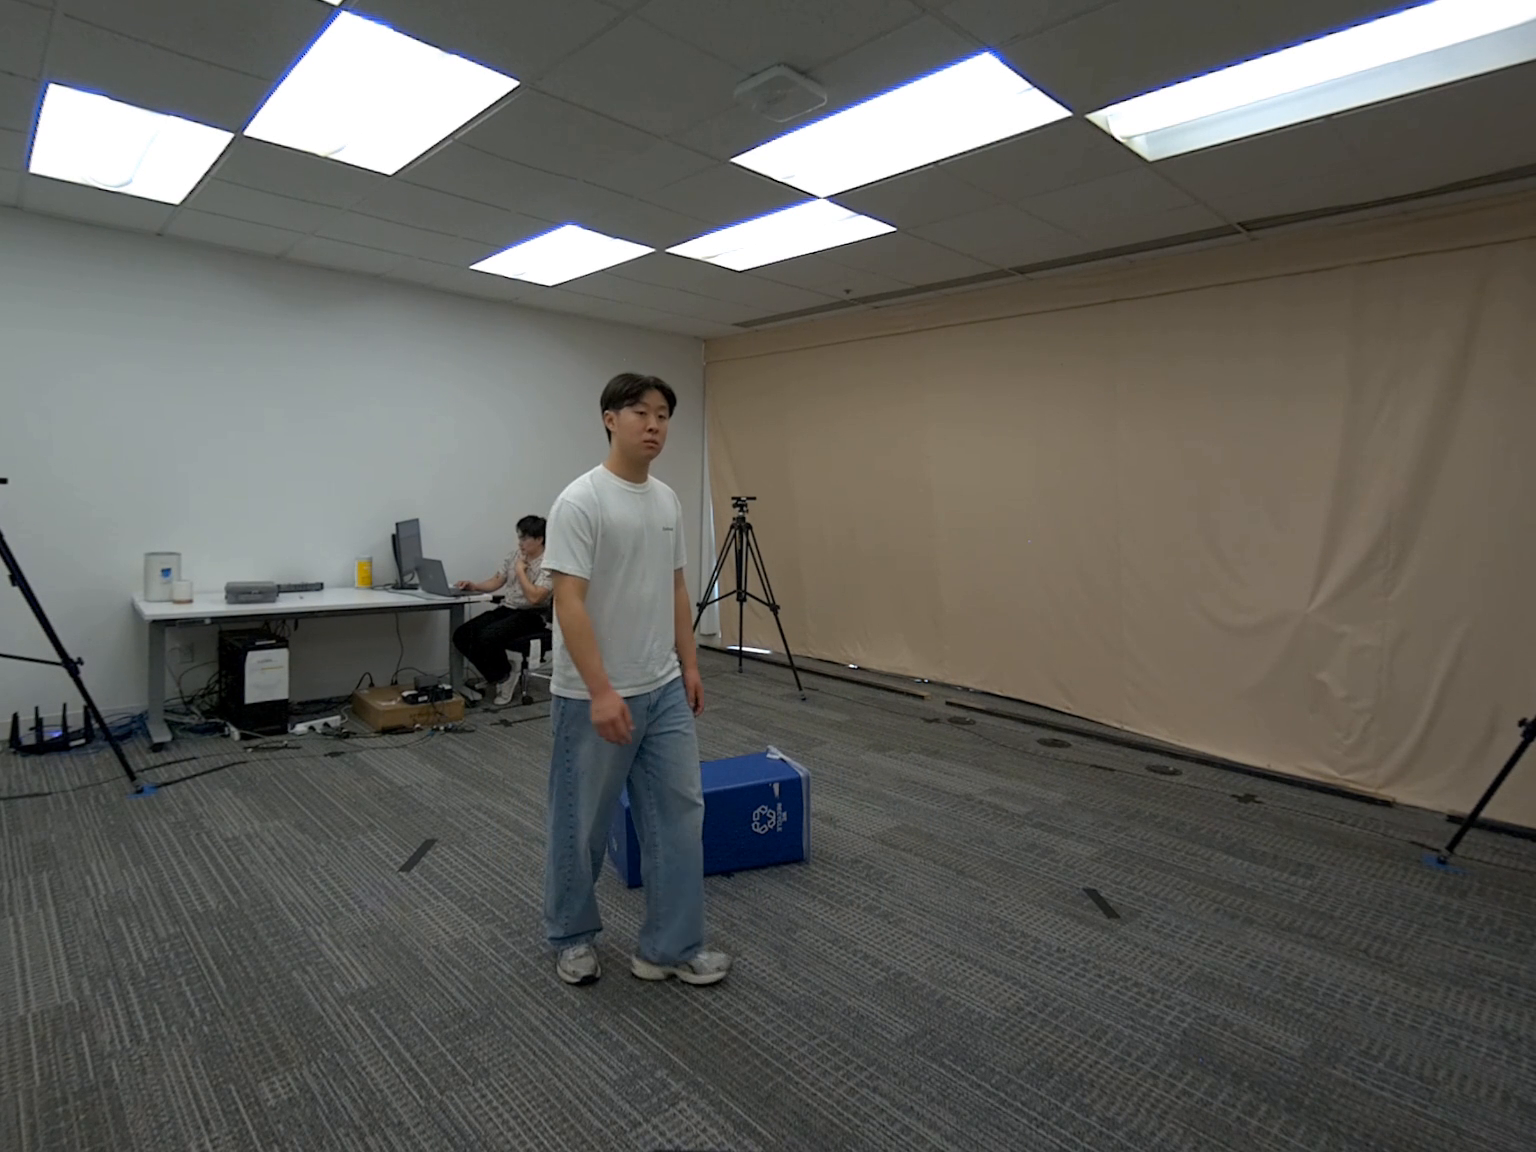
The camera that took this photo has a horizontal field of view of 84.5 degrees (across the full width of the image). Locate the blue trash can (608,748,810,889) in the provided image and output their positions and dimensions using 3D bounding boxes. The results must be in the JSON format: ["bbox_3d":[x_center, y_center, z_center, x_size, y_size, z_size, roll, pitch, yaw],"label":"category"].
[{"bbox_3d":[-0.237,0.929,3.226,0.702,0.376,0.382,-4,6,-24],"label":"blue trash can"}]
